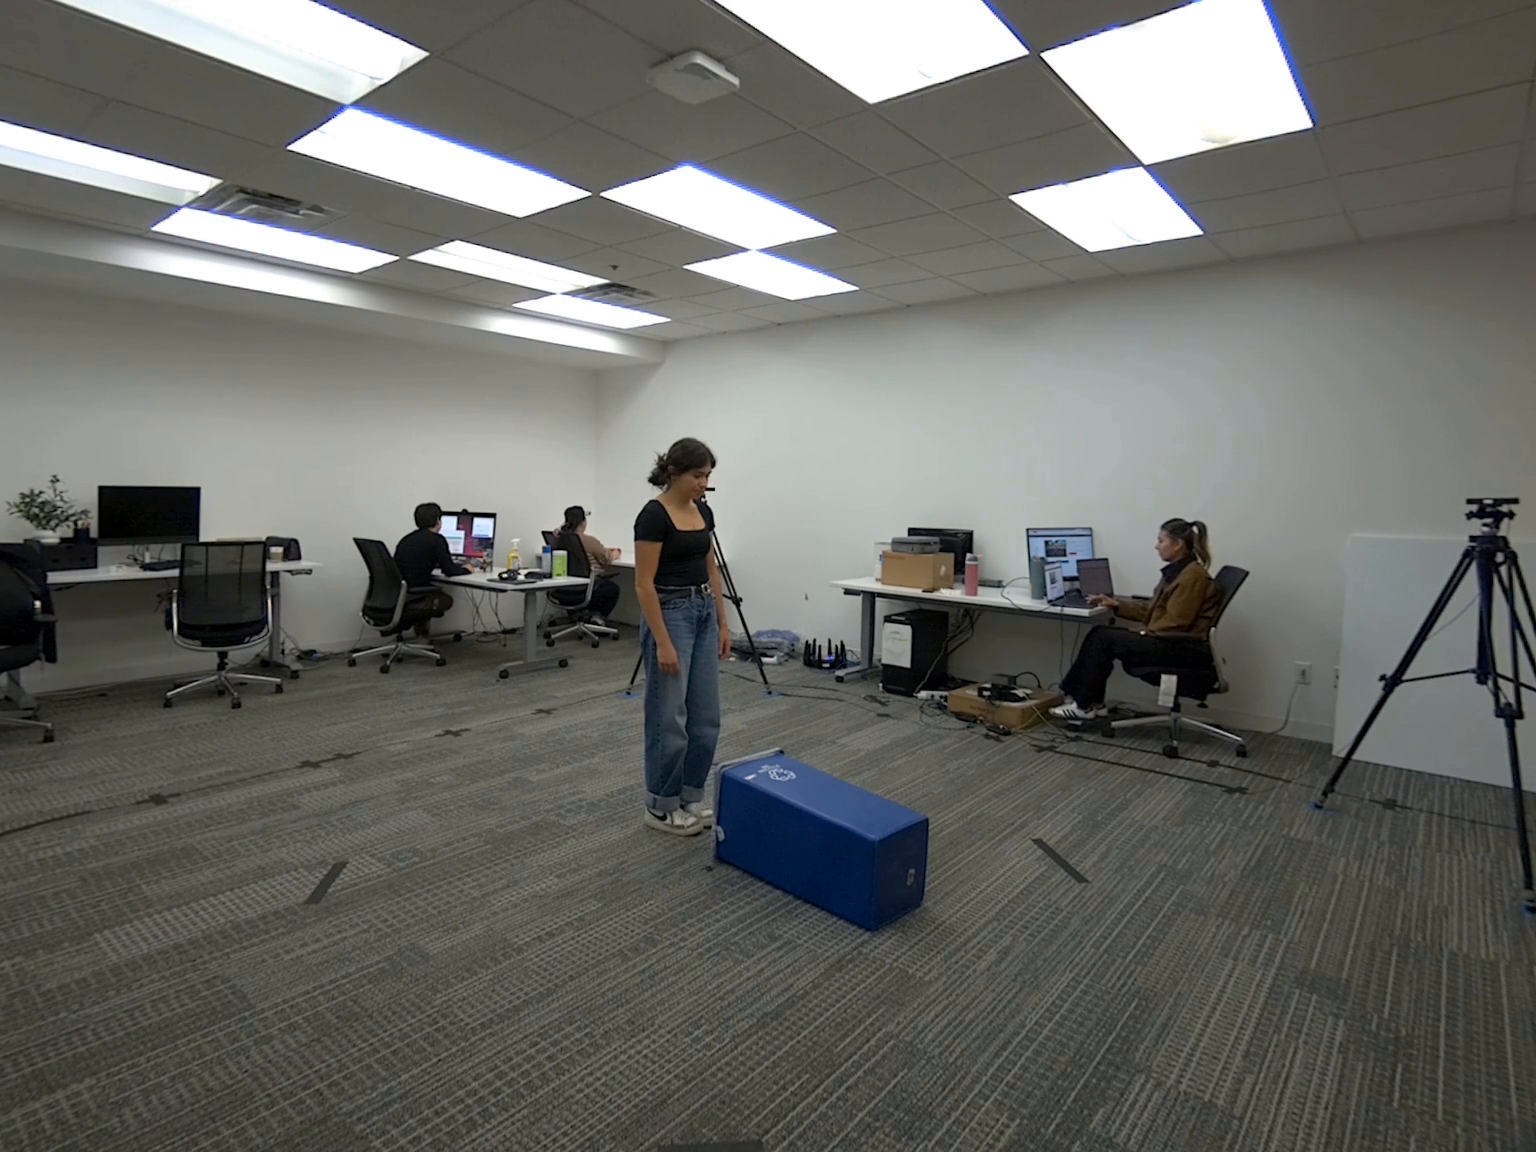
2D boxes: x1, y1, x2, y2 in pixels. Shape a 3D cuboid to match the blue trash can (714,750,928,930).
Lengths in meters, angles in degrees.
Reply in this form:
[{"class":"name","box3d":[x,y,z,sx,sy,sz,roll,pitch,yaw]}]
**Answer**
[{"class":"blue trash can","box3d":[0.172,0.917,3.019,0.739,0.376,0.362,10,9,44]}]
